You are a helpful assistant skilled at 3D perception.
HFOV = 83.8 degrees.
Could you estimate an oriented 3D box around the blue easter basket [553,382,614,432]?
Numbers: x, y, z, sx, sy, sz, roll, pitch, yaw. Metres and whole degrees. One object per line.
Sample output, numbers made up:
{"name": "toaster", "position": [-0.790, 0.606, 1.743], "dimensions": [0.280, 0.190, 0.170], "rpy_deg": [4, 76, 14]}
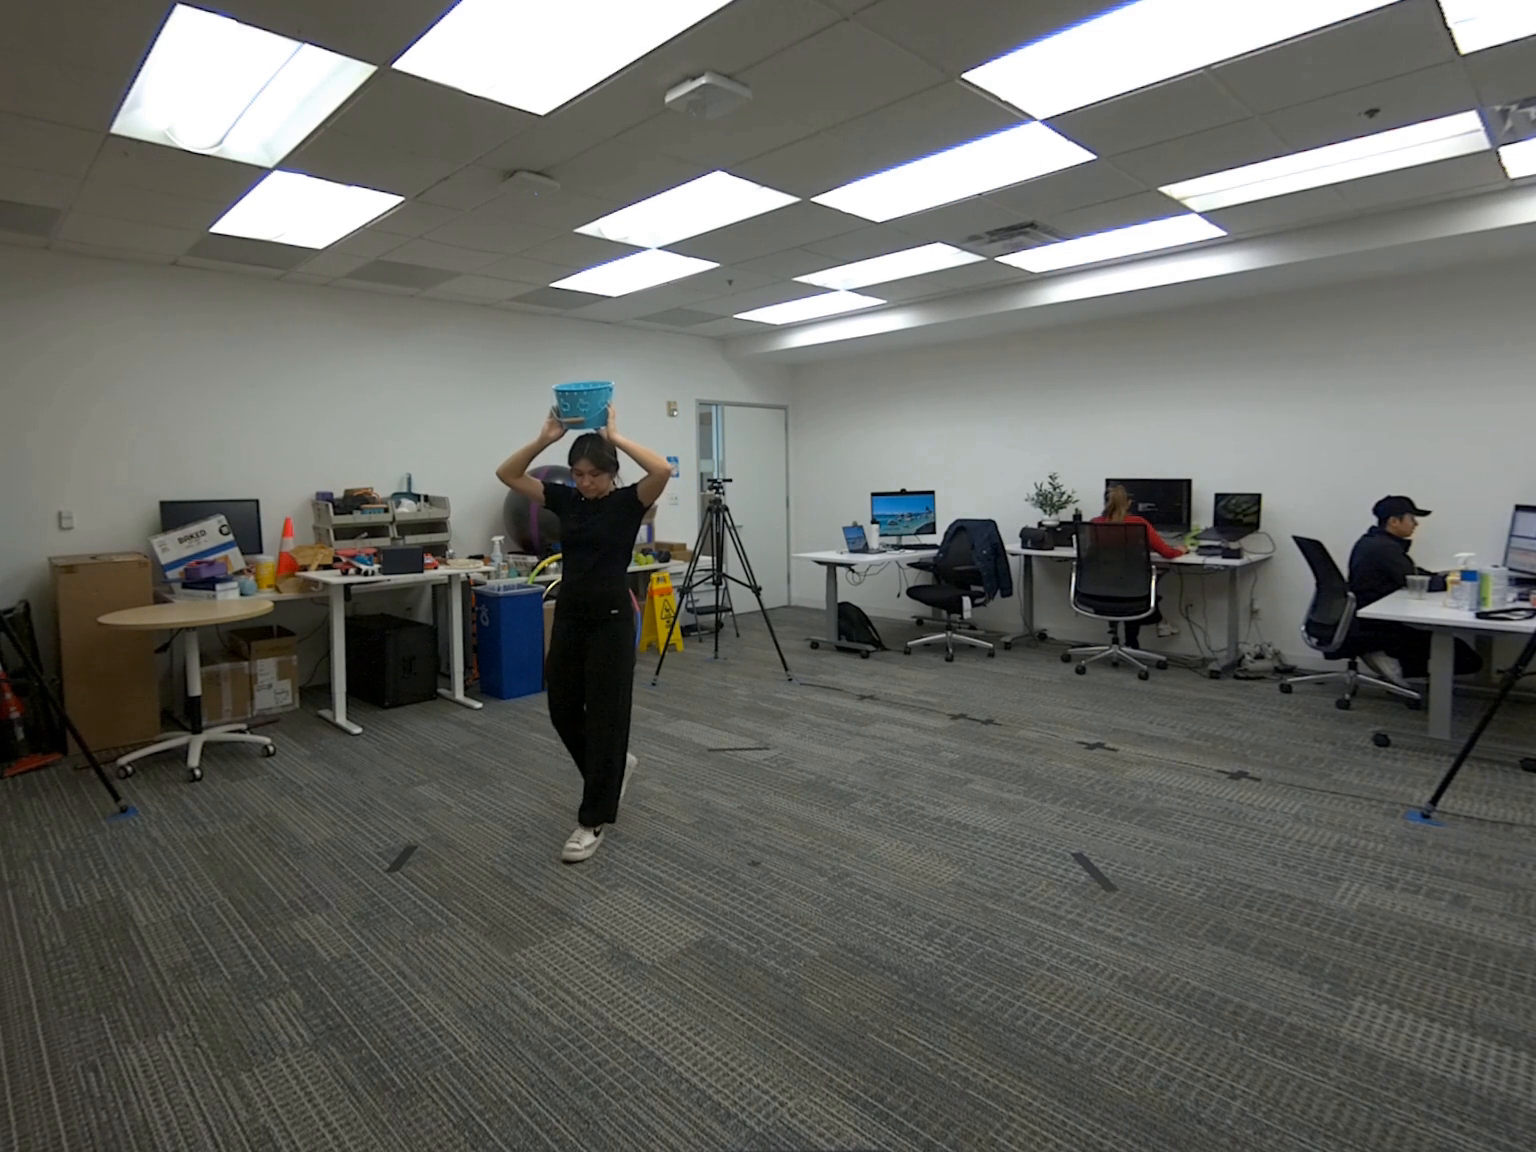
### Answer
{"name": "blue easter basket", "position": [-0.700, -0.635, 3.204], "dimensions": [0.244, 0.153, 0.248], "rpy_deg": [-4, 19, 0]}
